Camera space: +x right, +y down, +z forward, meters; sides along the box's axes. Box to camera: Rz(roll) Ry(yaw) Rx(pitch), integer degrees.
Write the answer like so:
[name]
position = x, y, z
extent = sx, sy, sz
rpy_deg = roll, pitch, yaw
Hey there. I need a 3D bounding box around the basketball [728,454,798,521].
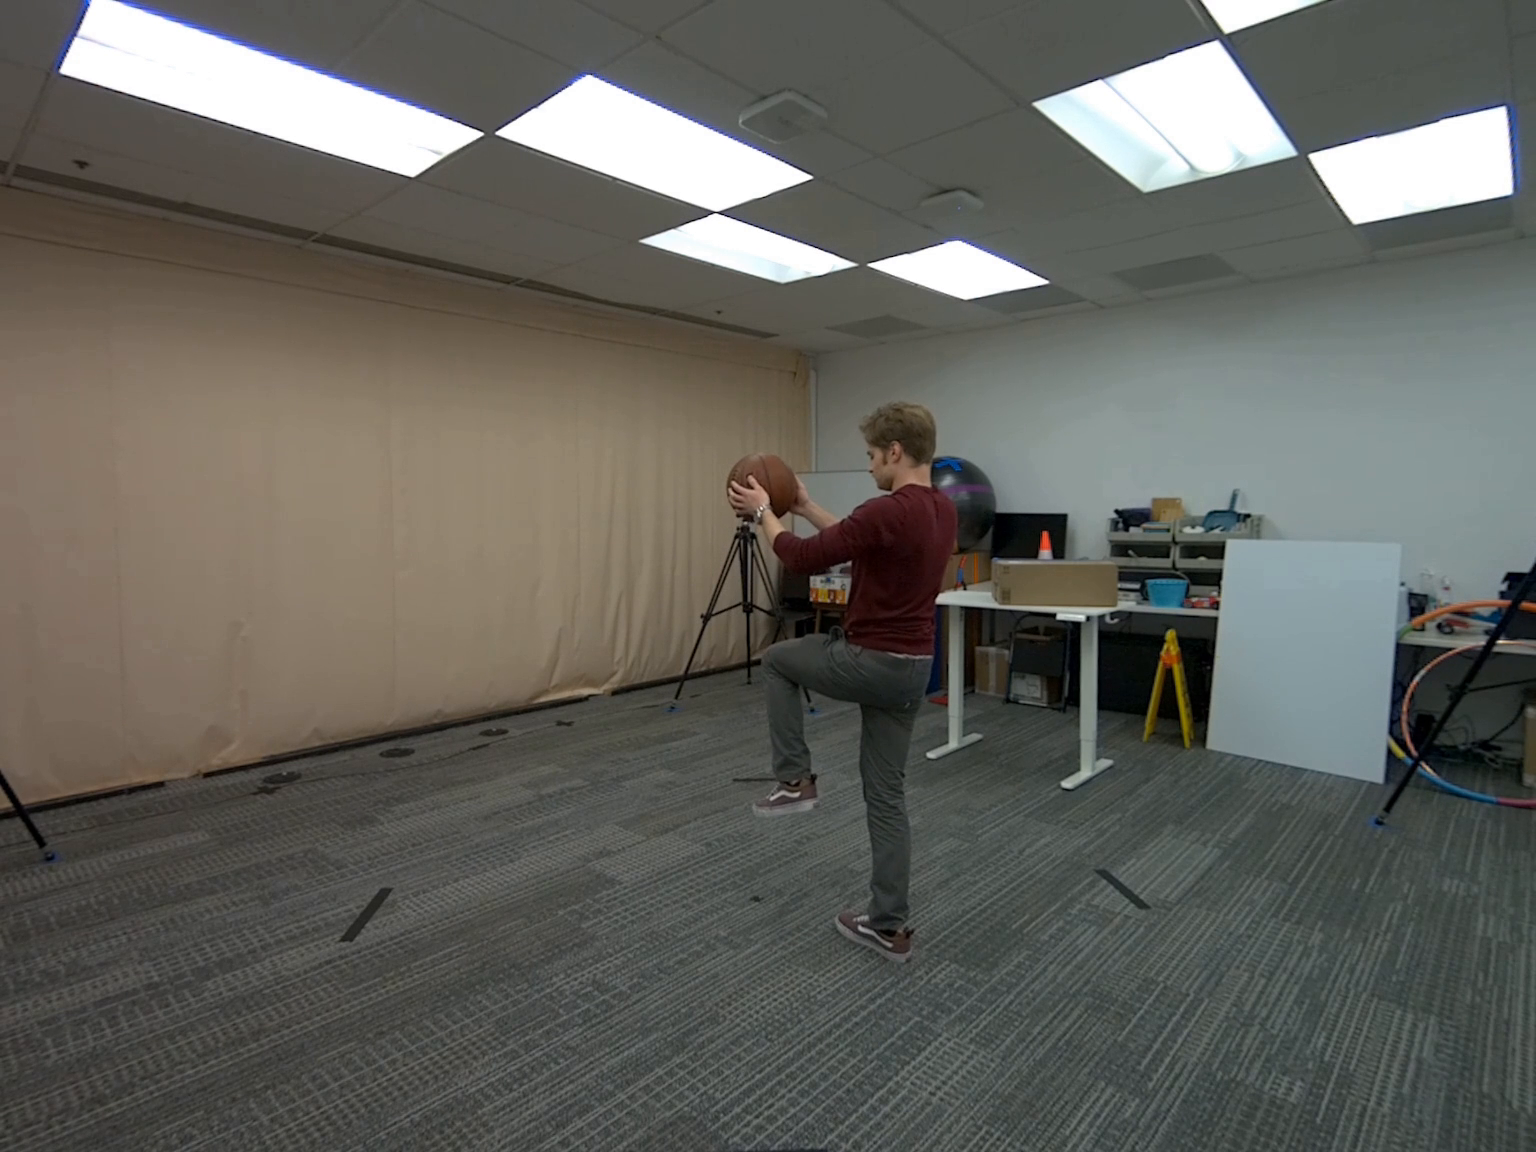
[basketball]
position = -0.021, -0.298, 2.841
extent = 0.236, 0.235, 0.237
rpy_deg = 0, 4, -2
